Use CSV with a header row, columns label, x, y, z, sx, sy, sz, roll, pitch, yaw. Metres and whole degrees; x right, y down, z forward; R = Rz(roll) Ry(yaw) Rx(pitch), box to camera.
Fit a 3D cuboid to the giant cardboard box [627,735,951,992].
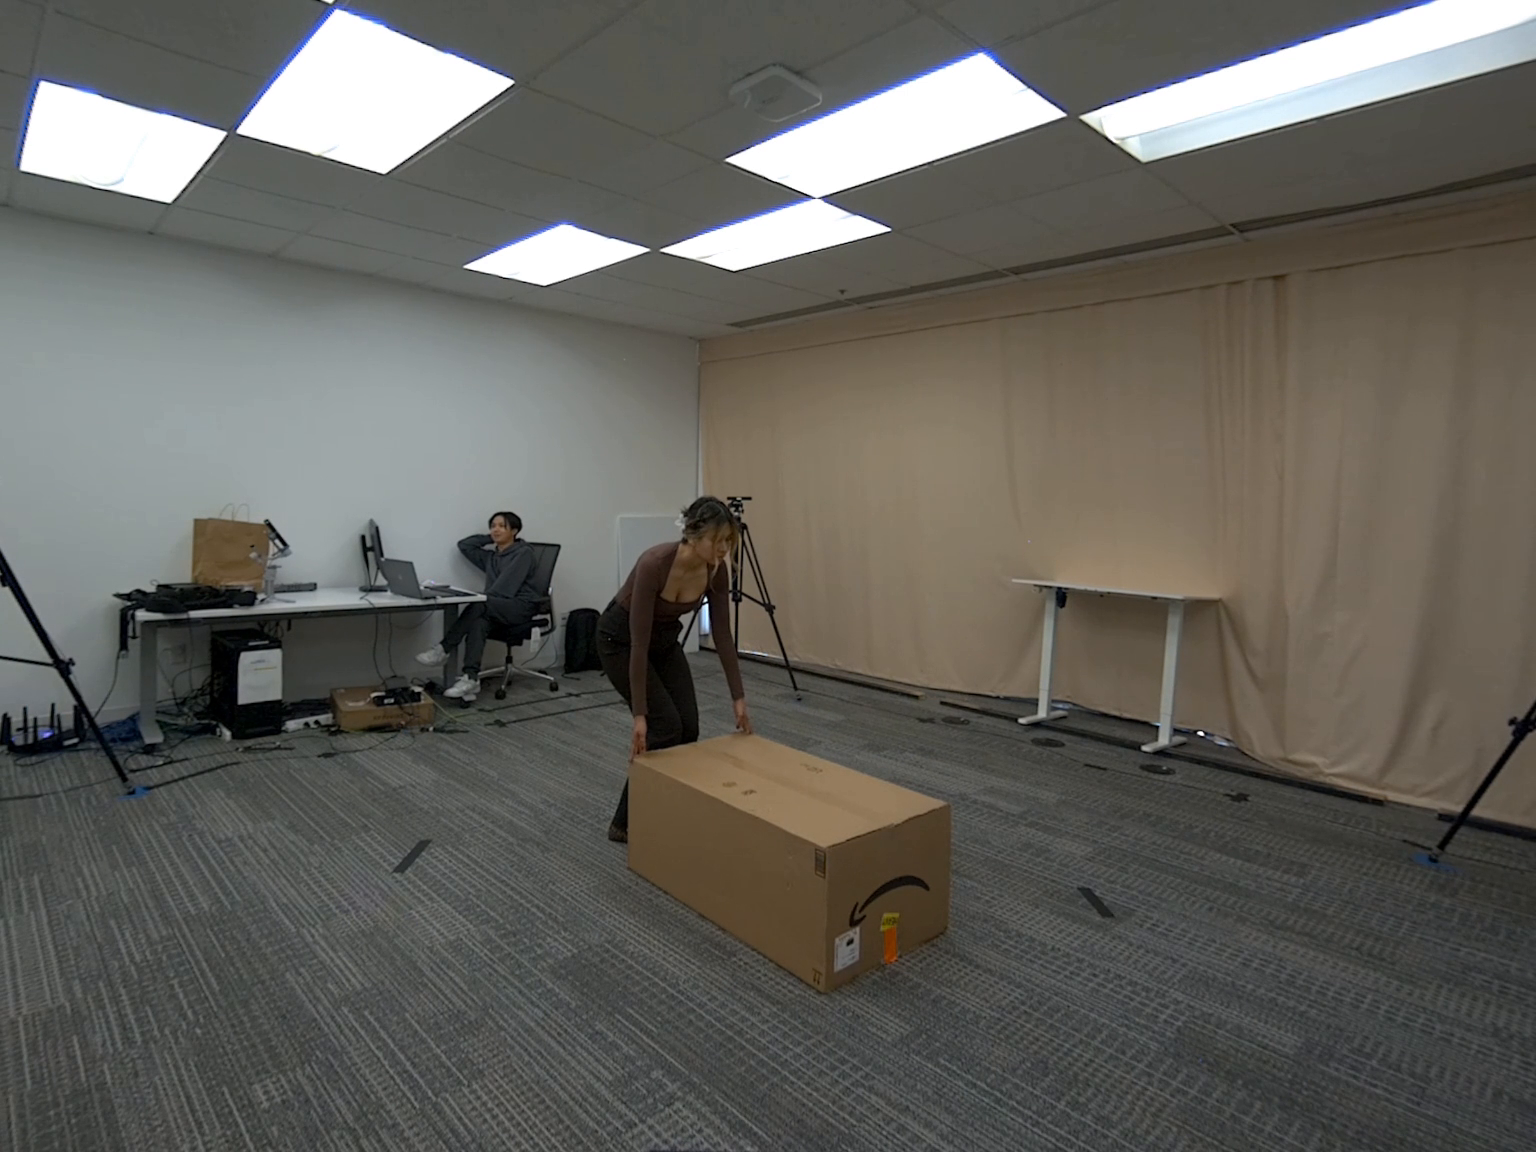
label,x,y,z,sx,sy,sz,roll,pitch,yaw
giant cardboard box,0.031,0.918,2.920,0.570,0.445,1.054,-1,6,-41
